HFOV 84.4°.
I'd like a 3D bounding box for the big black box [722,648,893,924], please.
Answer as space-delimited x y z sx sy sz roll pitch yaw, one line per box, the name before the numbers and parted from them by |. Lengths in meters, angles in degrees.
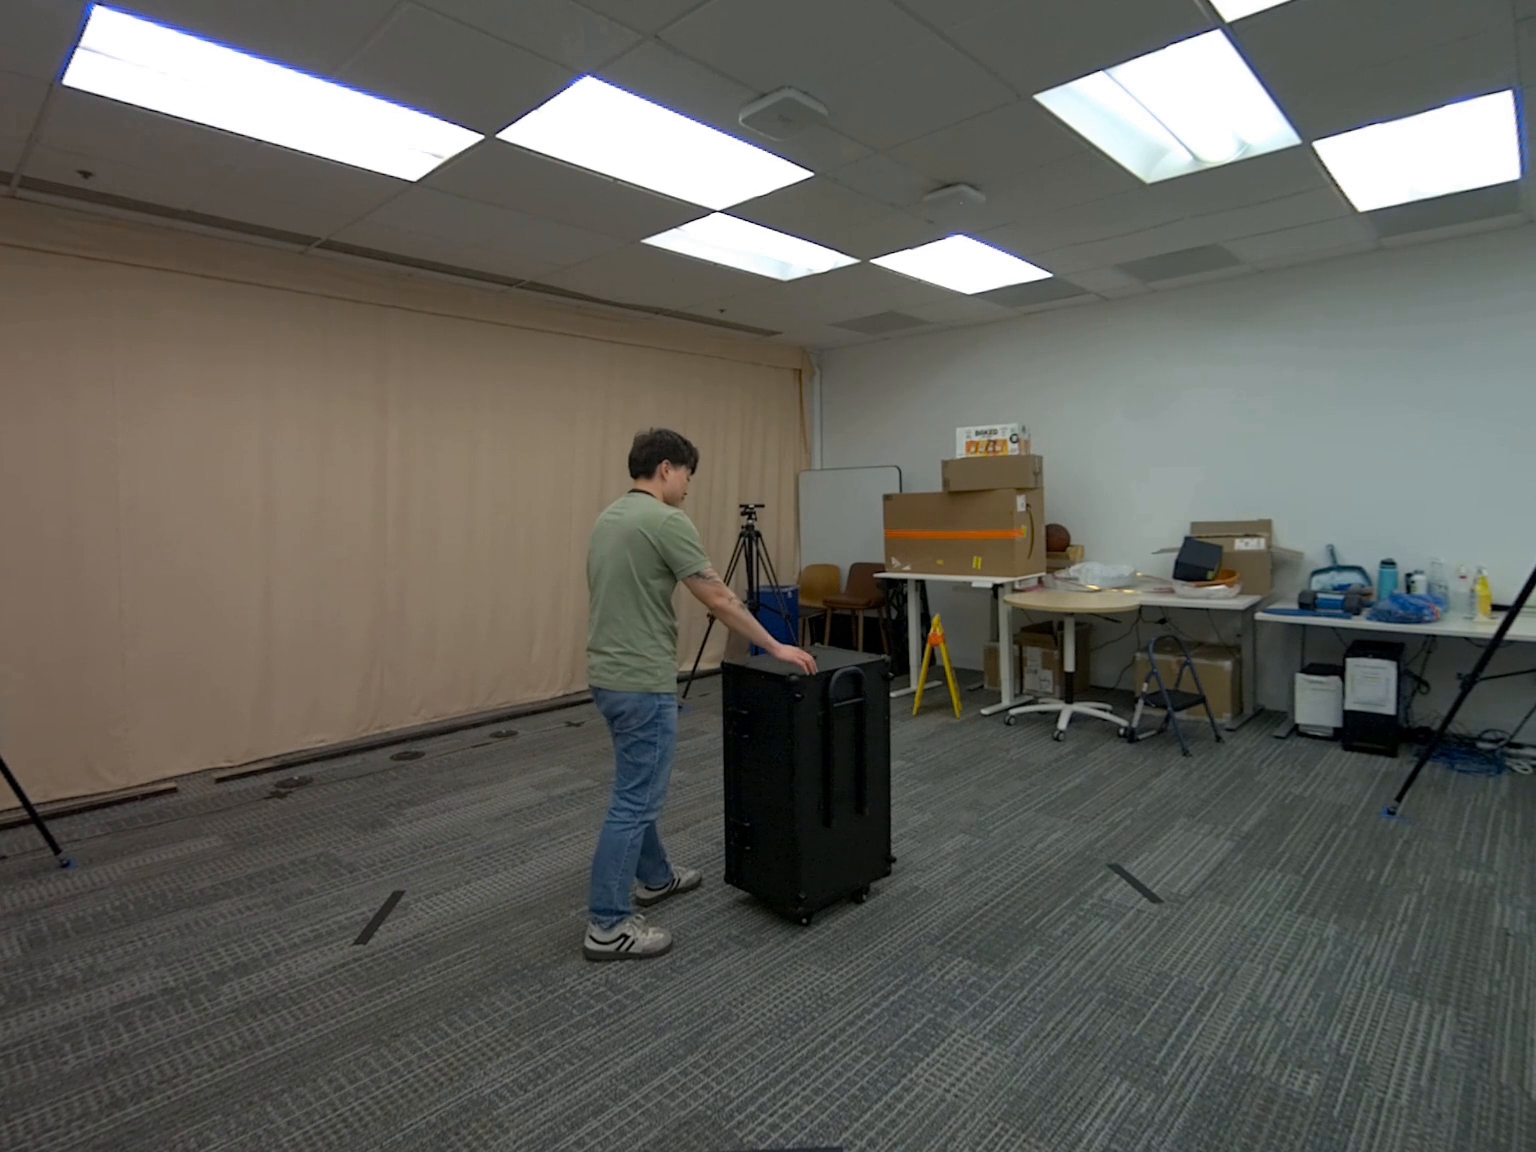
big black box | 0.159 0.718 2.947 0.505 0.859 0.409 -5 6 -42
